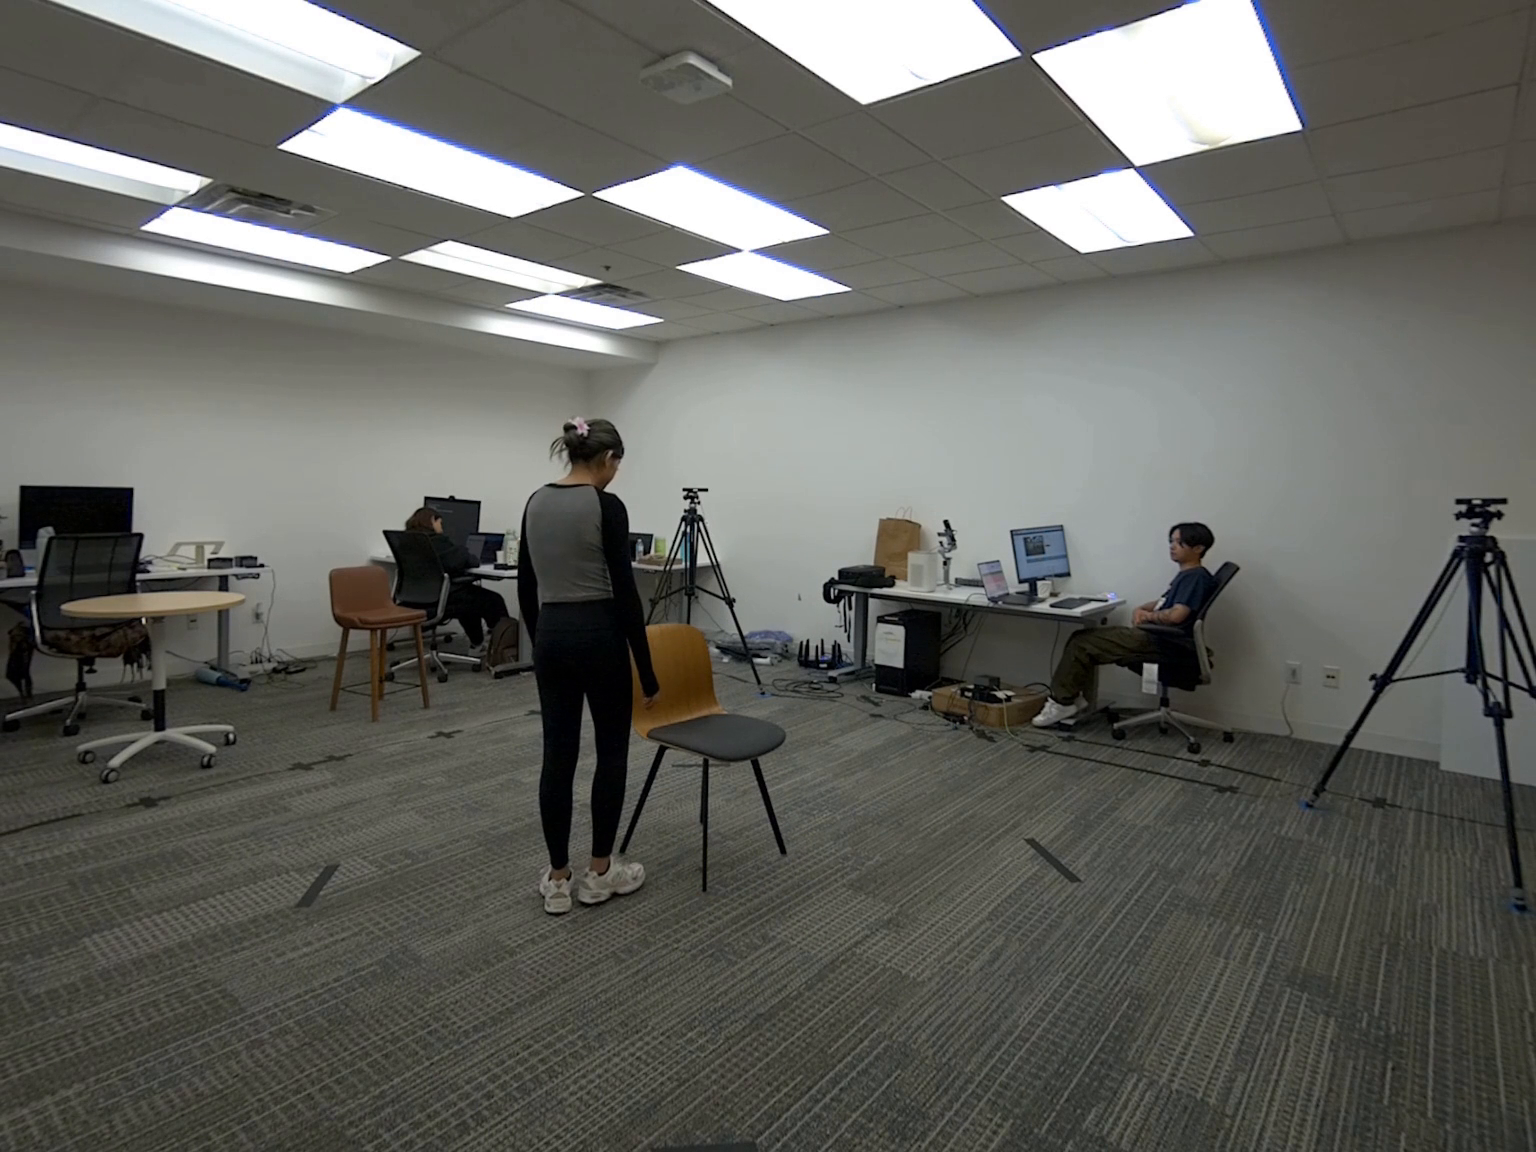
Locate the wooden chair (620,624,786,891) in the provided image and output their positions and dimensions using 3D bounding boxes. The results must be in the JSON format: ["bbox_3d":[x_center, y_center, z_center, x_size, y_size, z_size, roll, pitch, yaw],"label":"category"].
[{"bbox_3d":[-0.236,0.630,3.210,0.539,0.878,0.463,-2,0,41],"label":"wooden chair"}]
